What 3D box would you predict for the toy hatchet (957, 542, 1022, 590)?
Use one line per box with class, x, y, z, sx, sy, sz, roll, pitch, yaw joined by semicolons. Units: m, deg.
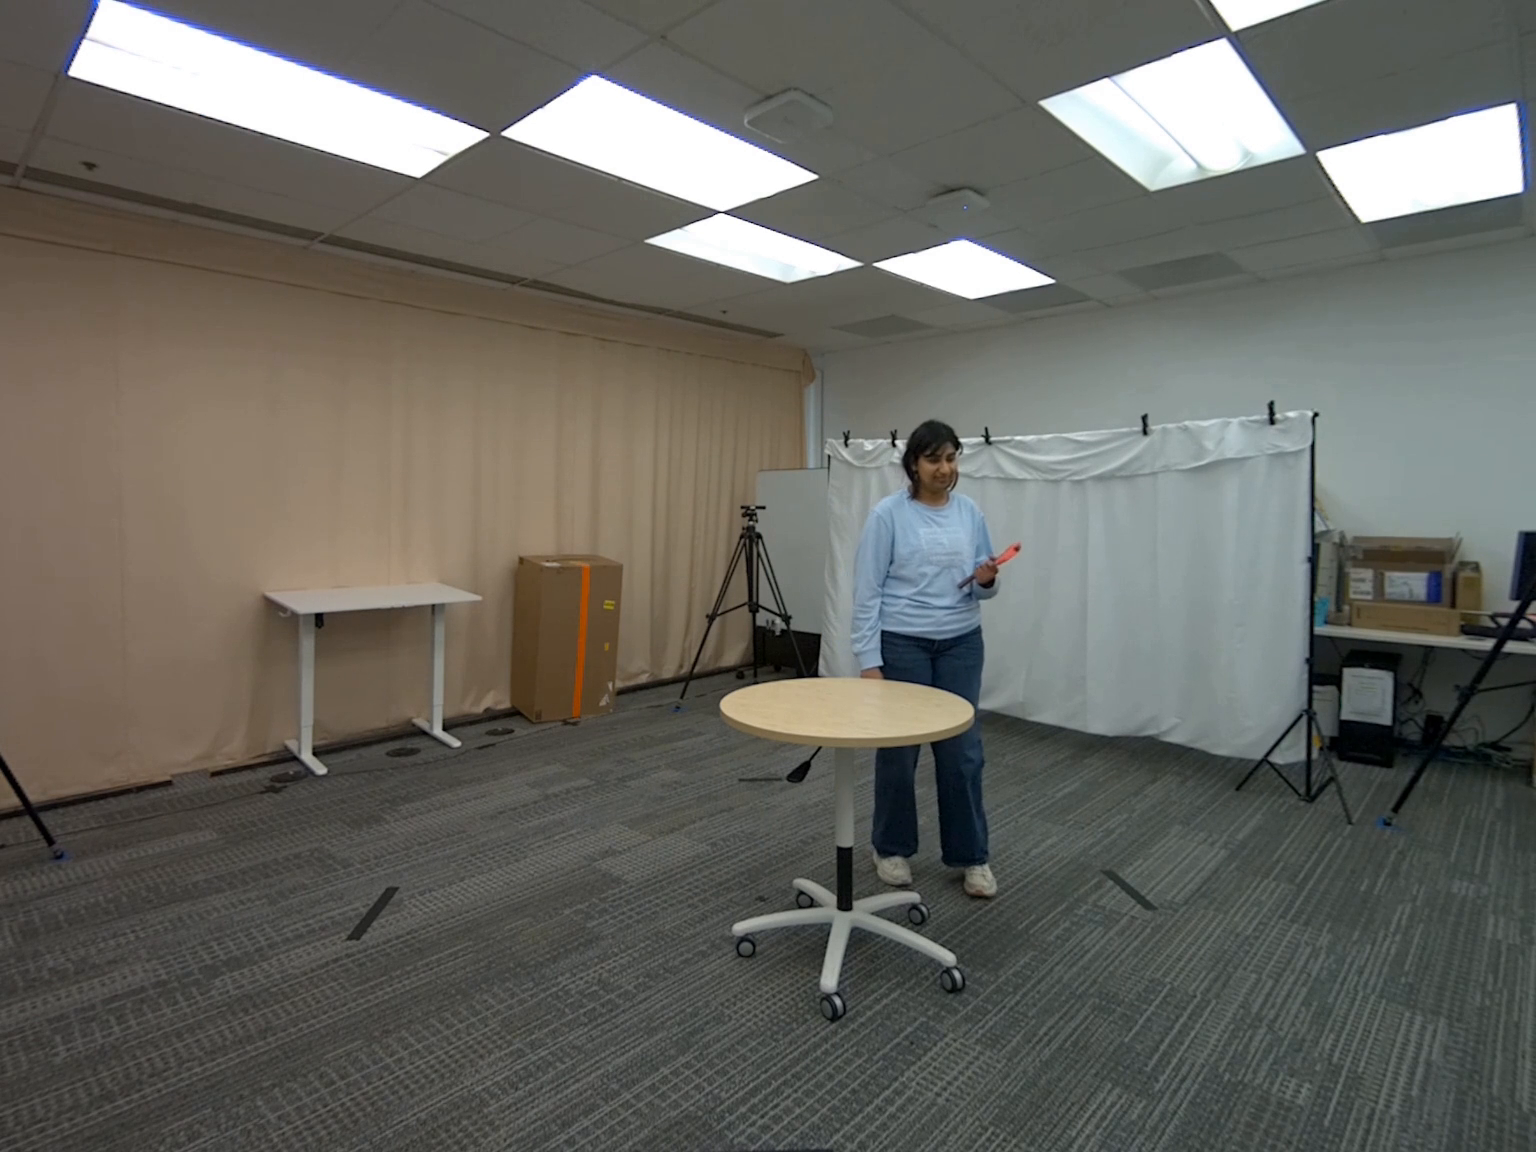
toy hatchet;0.737;-0.025;2.843;0.273;0.029;0.130;-38;4;29
